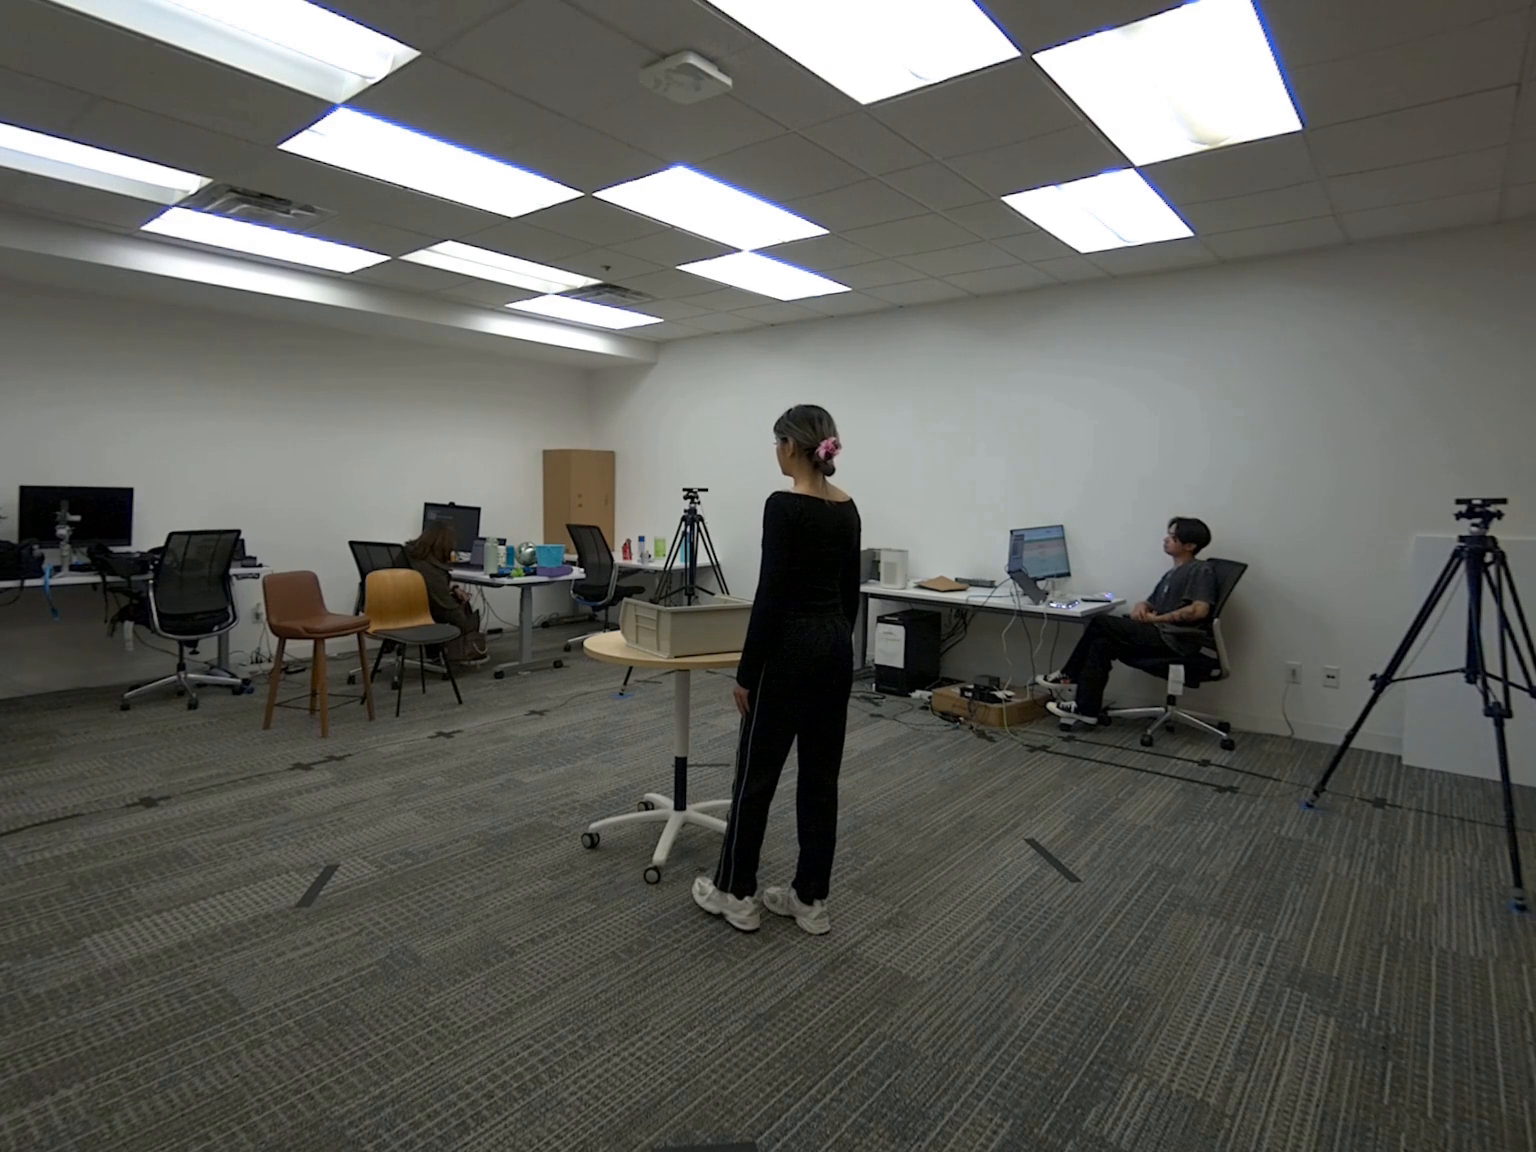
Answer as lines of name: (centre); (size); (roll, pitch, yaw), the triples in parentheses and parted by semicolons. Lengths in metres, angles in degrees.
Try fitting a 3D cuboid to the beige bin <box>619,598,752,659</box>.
beige bin: (-0.299, 0.175, 3.194); (0.410, 0.188, 0.390); (-2, 7, -34)
